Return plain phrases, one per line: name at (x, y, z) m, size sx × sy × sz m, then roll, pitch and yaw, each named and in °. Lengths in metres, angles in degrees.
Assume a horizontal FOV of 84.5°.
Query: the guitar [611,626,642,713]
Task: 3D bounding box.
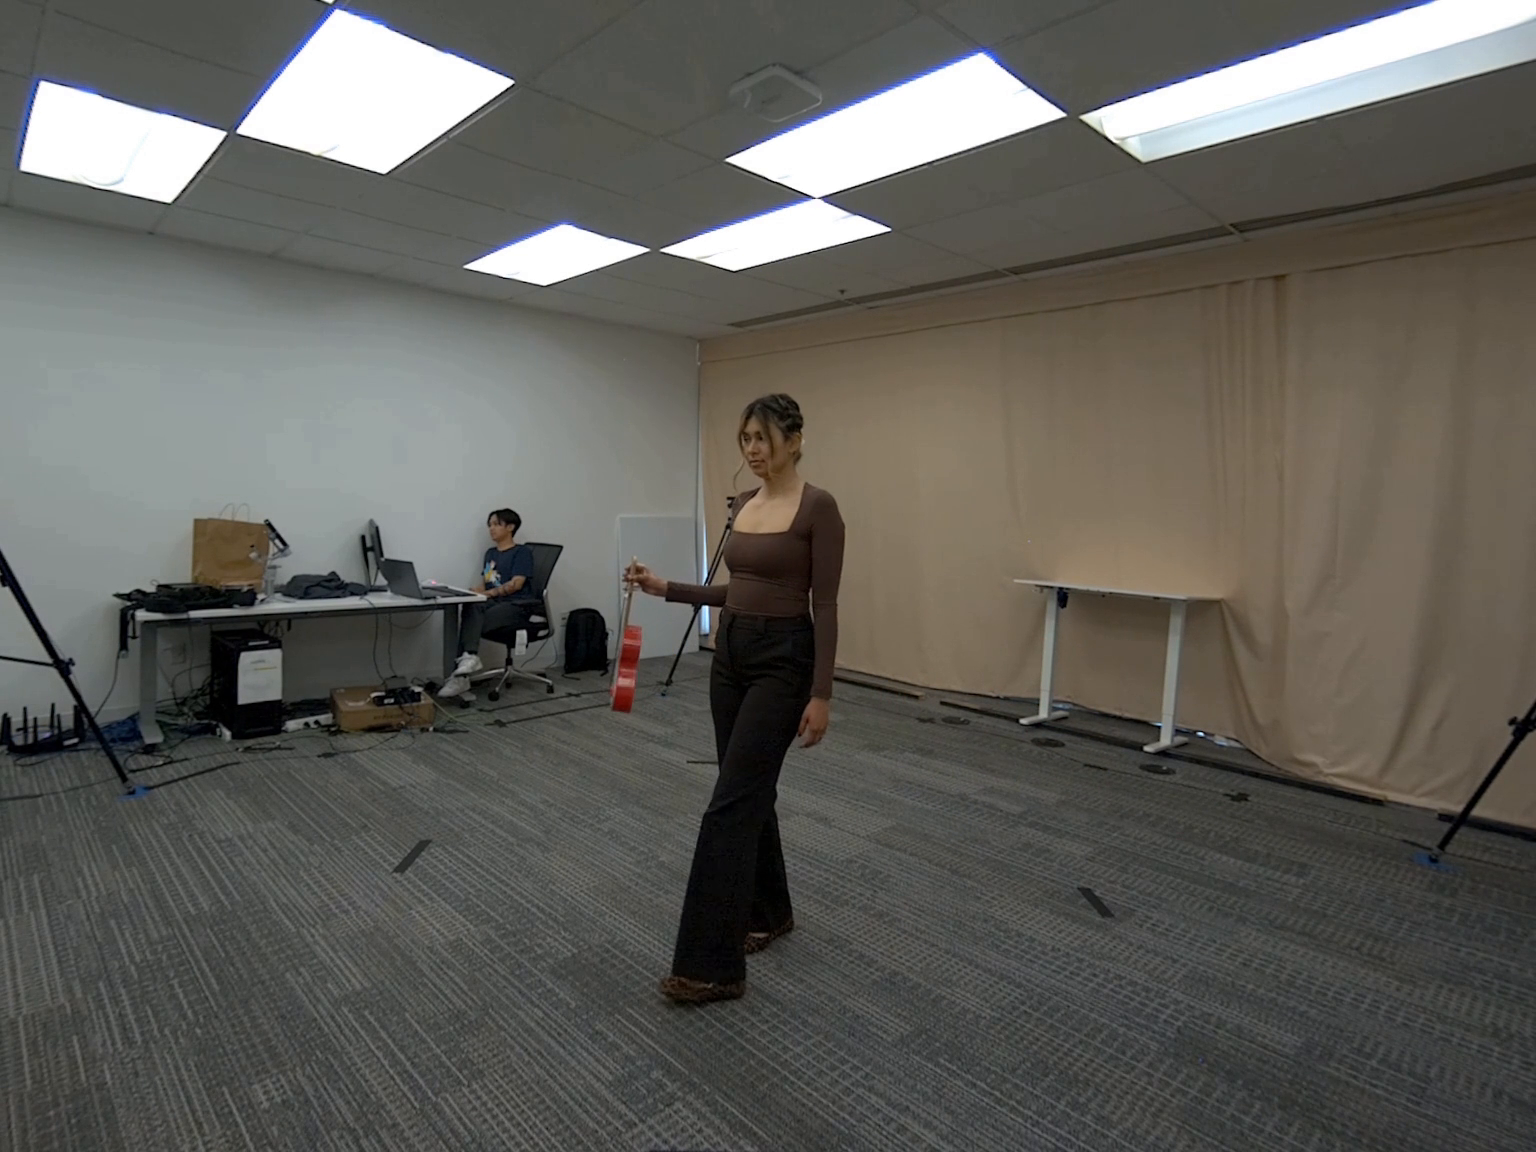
guitar at (-0.444, 0.196, 2.695) m, size 0.070 × 0.494 × 0.196 m, roll 8°, pitch 12°, yaw -13°
